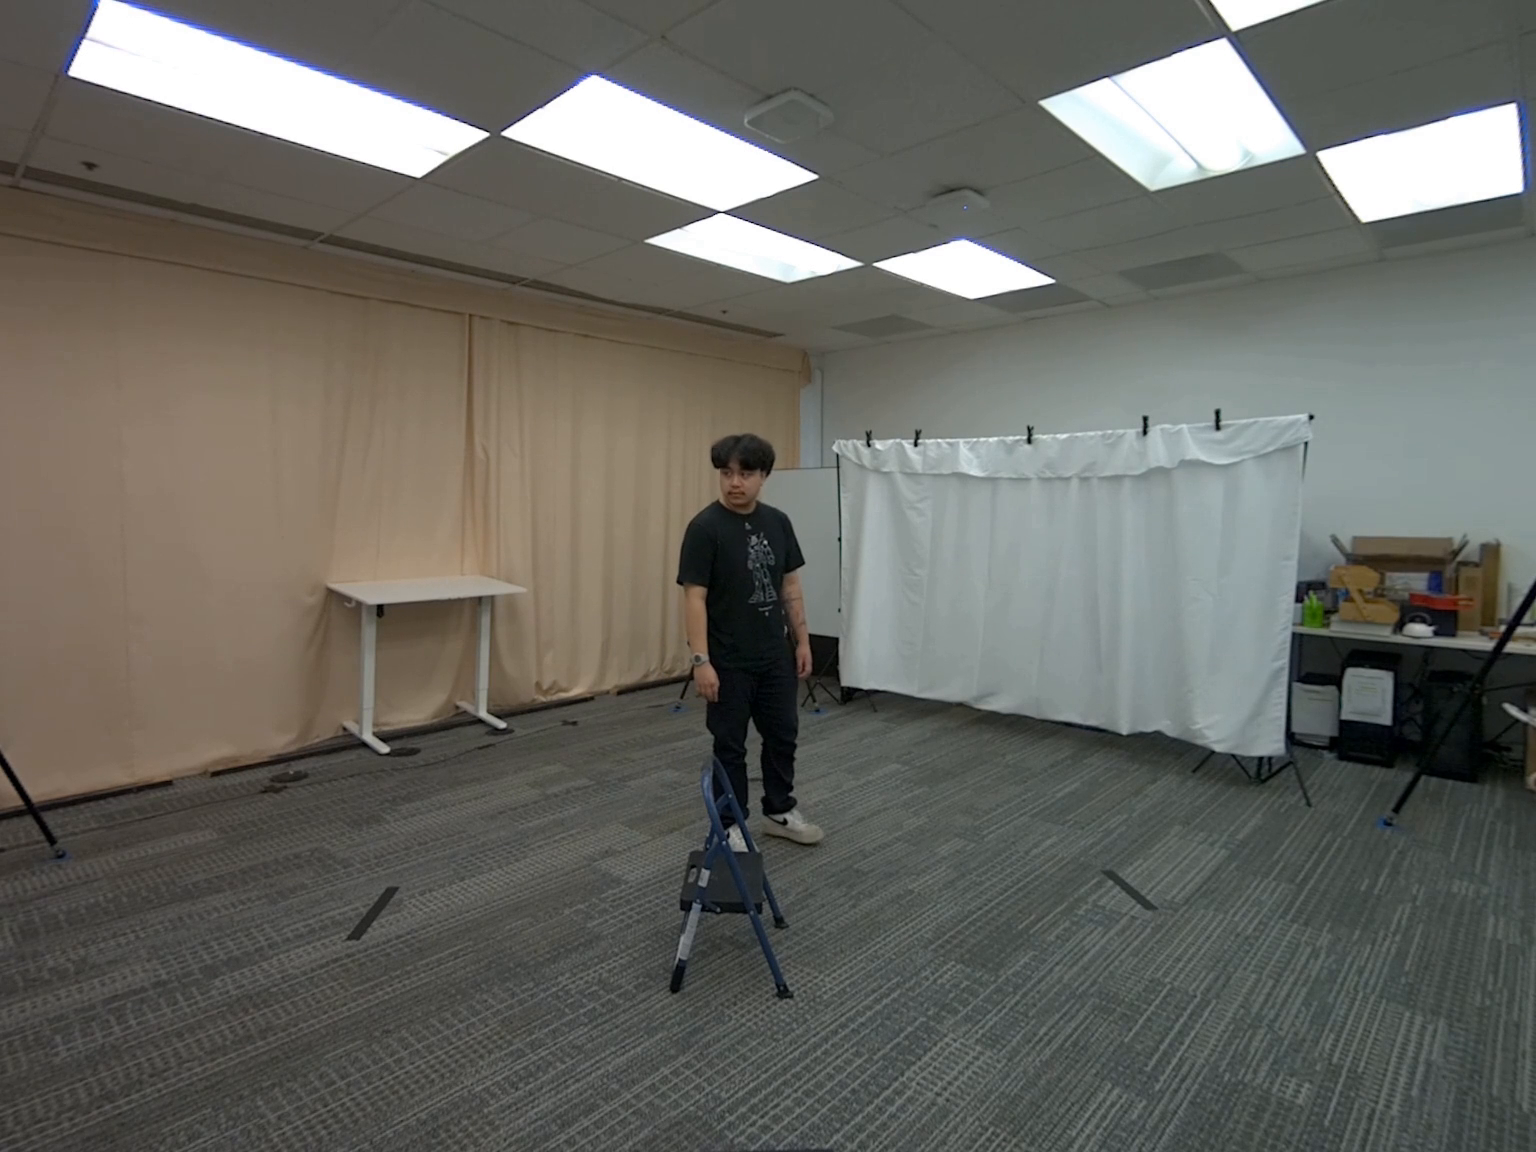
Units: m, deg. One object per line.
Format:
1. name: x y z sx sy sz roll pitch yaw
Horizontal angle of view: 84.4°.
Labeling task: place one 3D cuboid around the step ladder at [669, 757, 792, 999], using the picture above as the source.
1. step ladder: -0.108 0.870 2.585 0.350 0.605 0.431 0 4 0
